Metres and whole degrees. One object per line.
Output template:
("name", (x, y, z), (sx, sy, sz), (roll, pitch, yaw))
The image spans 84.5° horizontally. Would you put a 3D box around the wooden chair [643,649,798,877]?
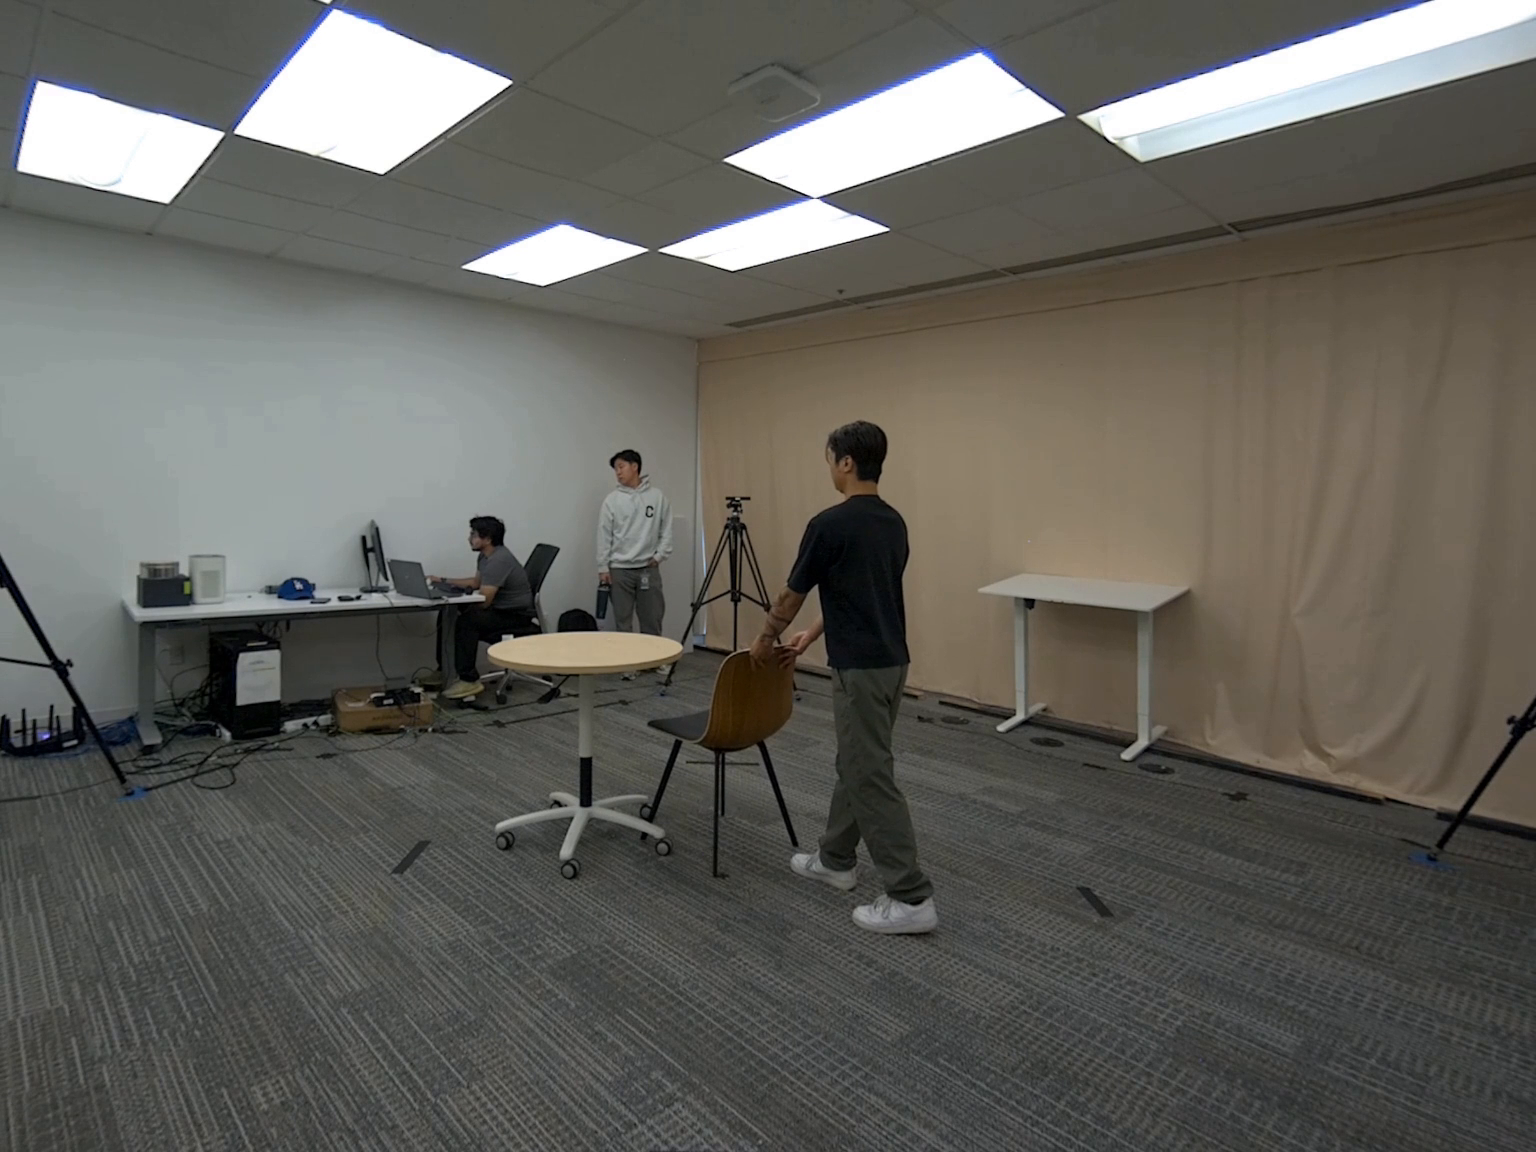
("wooden chair", (-0.197, 0.652, 3.371), (0.467, 0.873, 0.538), (-2, 10, -45))
